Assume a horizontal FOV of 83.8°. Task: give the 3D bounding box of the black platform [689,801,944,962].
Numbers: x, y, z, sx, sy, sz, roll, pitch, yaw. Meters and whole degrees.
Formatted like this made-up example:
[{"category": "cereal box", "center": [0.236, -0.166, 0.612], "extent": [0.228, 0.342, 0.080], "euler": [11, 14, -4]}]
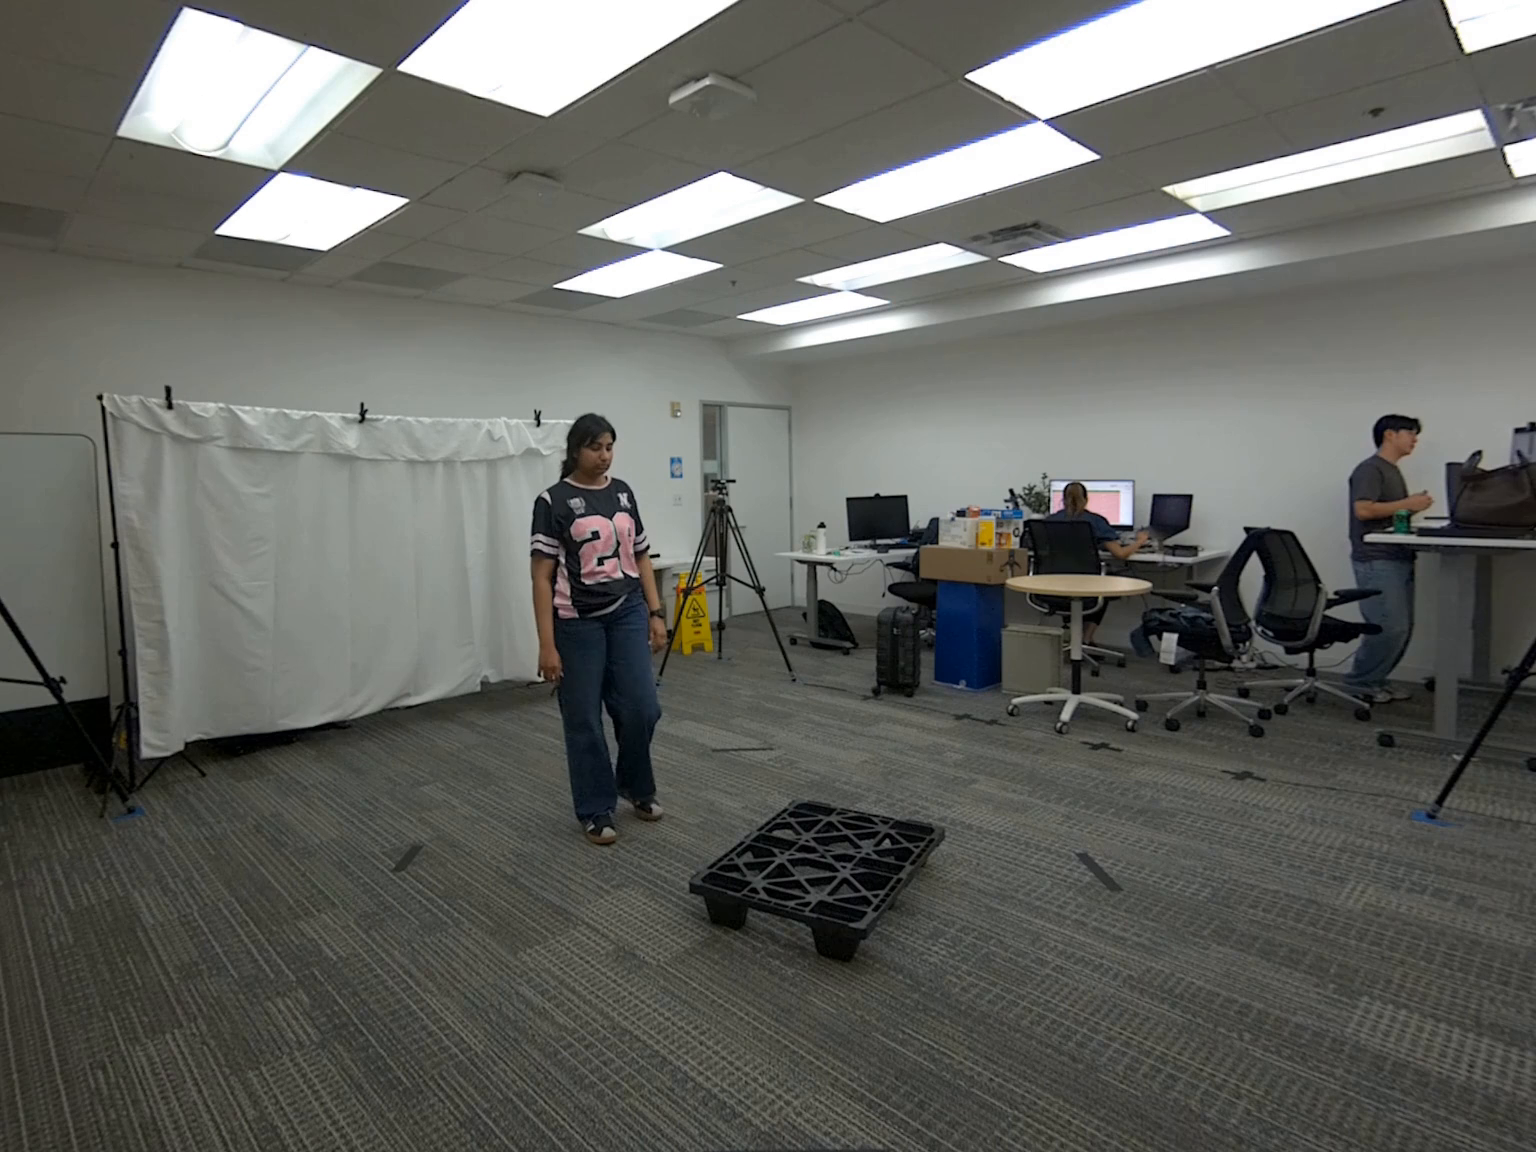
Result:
[{"category": "black platform", "center": [0.191, 0.999, 2.887], "extent": [0.621, 0.143, 0.789], "euler": [2, 7, 29]}]
